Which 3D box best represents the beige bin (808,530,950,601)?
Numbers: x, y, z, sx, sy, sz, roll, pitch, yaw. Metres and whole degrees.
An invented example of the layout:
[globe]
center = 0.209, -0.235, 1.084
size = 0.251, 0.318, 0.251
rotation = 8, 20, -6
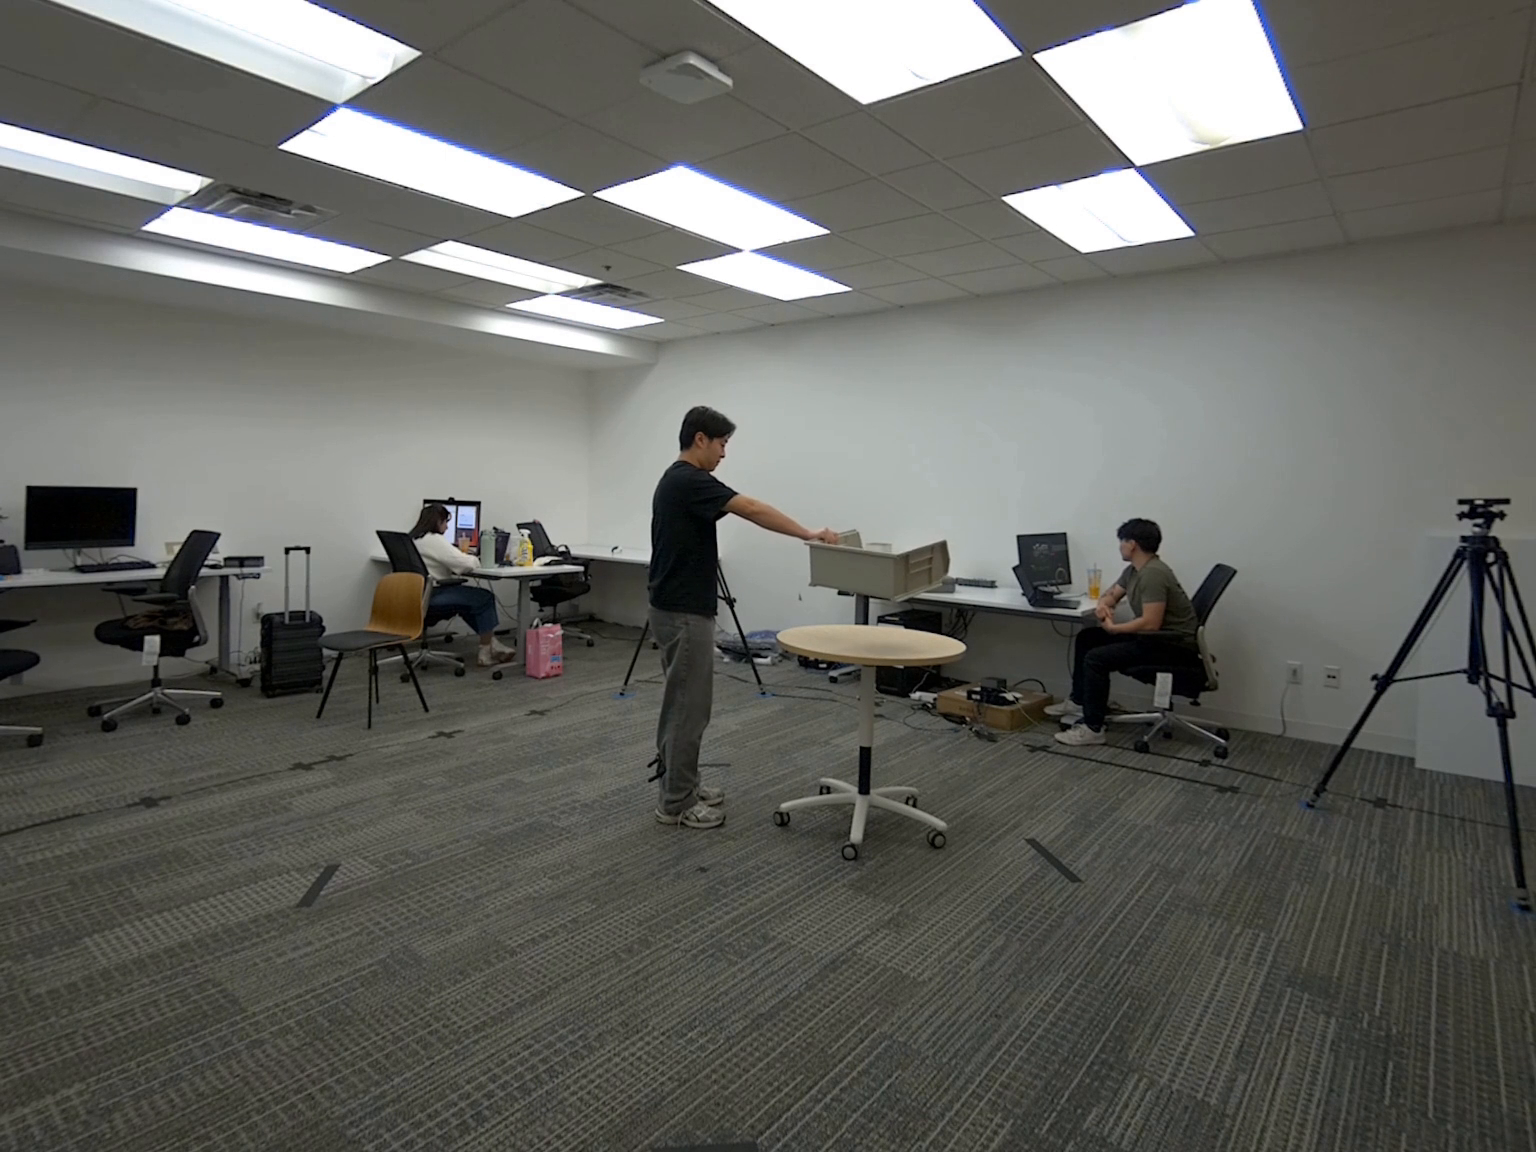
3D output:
[beige bin]
center = 0.418, -0.054, 3.303
size = 0.438, 0.187, 0.368
rotation = 11, 18, 43
